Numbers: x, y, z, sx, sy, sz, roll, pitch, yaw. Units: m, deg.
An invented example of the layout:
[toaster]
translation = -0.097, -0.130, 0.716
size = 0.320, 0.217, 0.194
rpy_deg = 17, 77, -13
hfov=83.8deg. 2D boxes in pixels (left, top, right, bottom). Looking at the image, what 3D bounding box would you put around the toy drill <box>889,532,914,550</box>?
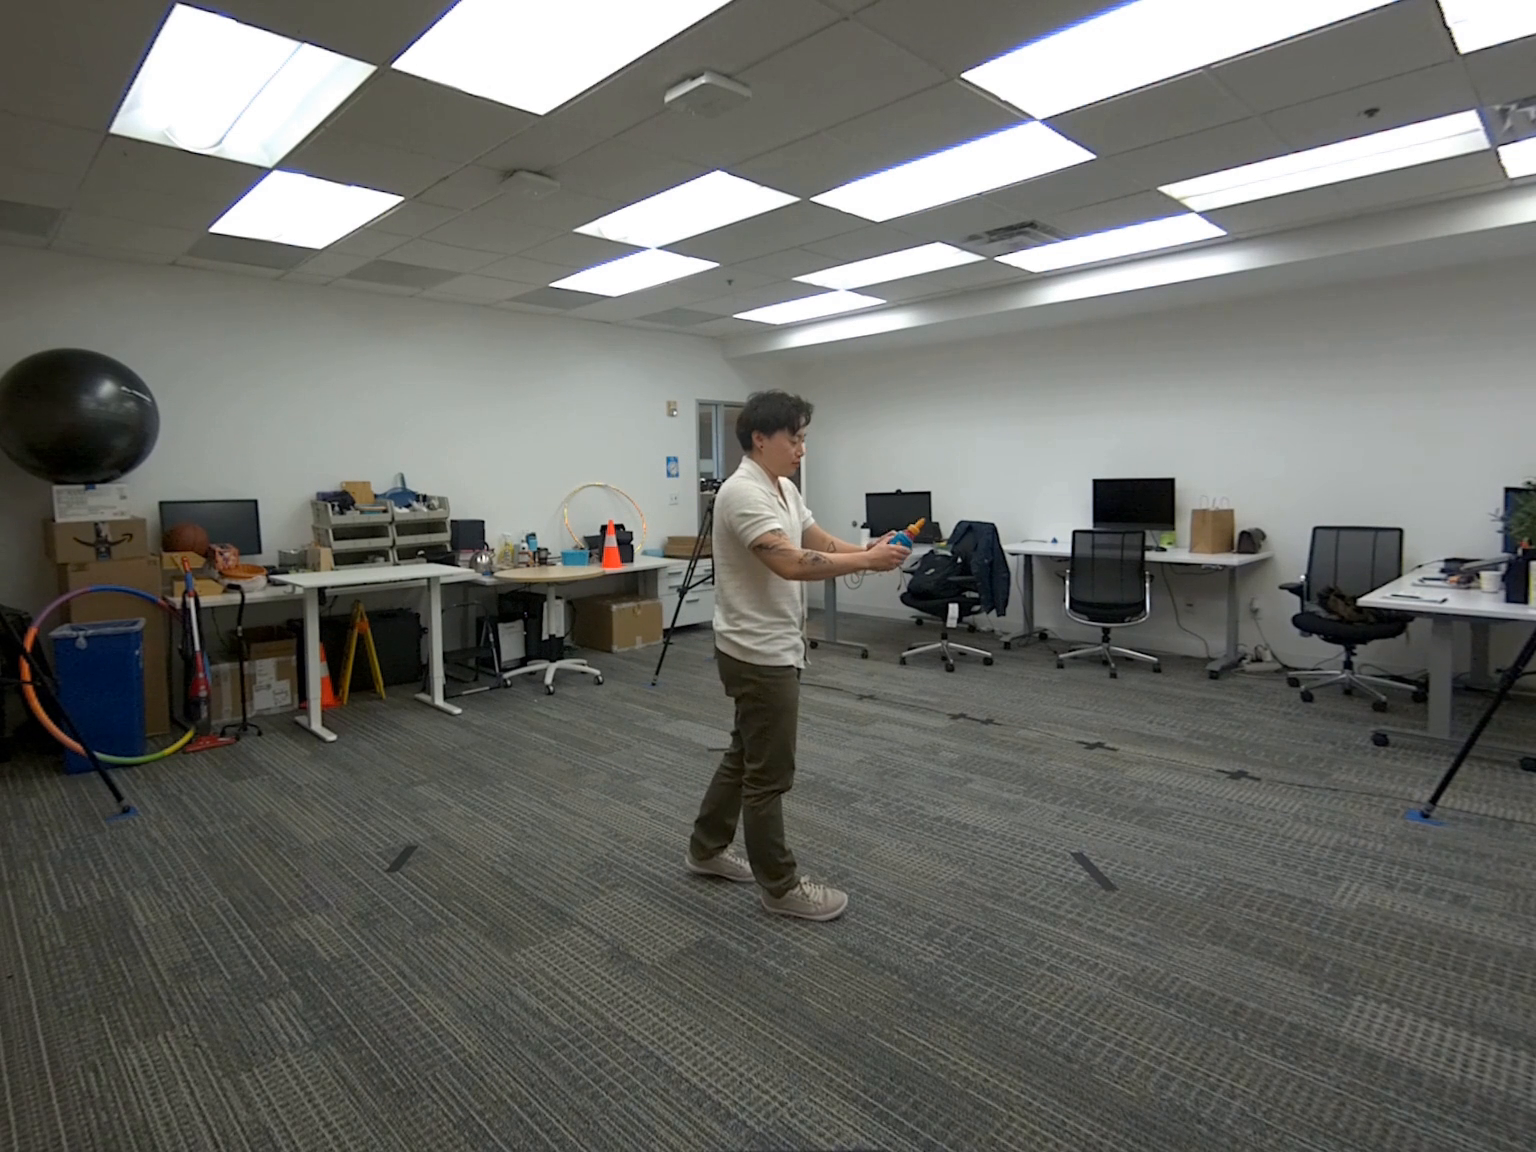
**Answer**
[toy drill]
translation = 0.410, -0.106, 2.600
size = 0.062, 0.169, 0.143
rpy_deg = 43, 11, 13
